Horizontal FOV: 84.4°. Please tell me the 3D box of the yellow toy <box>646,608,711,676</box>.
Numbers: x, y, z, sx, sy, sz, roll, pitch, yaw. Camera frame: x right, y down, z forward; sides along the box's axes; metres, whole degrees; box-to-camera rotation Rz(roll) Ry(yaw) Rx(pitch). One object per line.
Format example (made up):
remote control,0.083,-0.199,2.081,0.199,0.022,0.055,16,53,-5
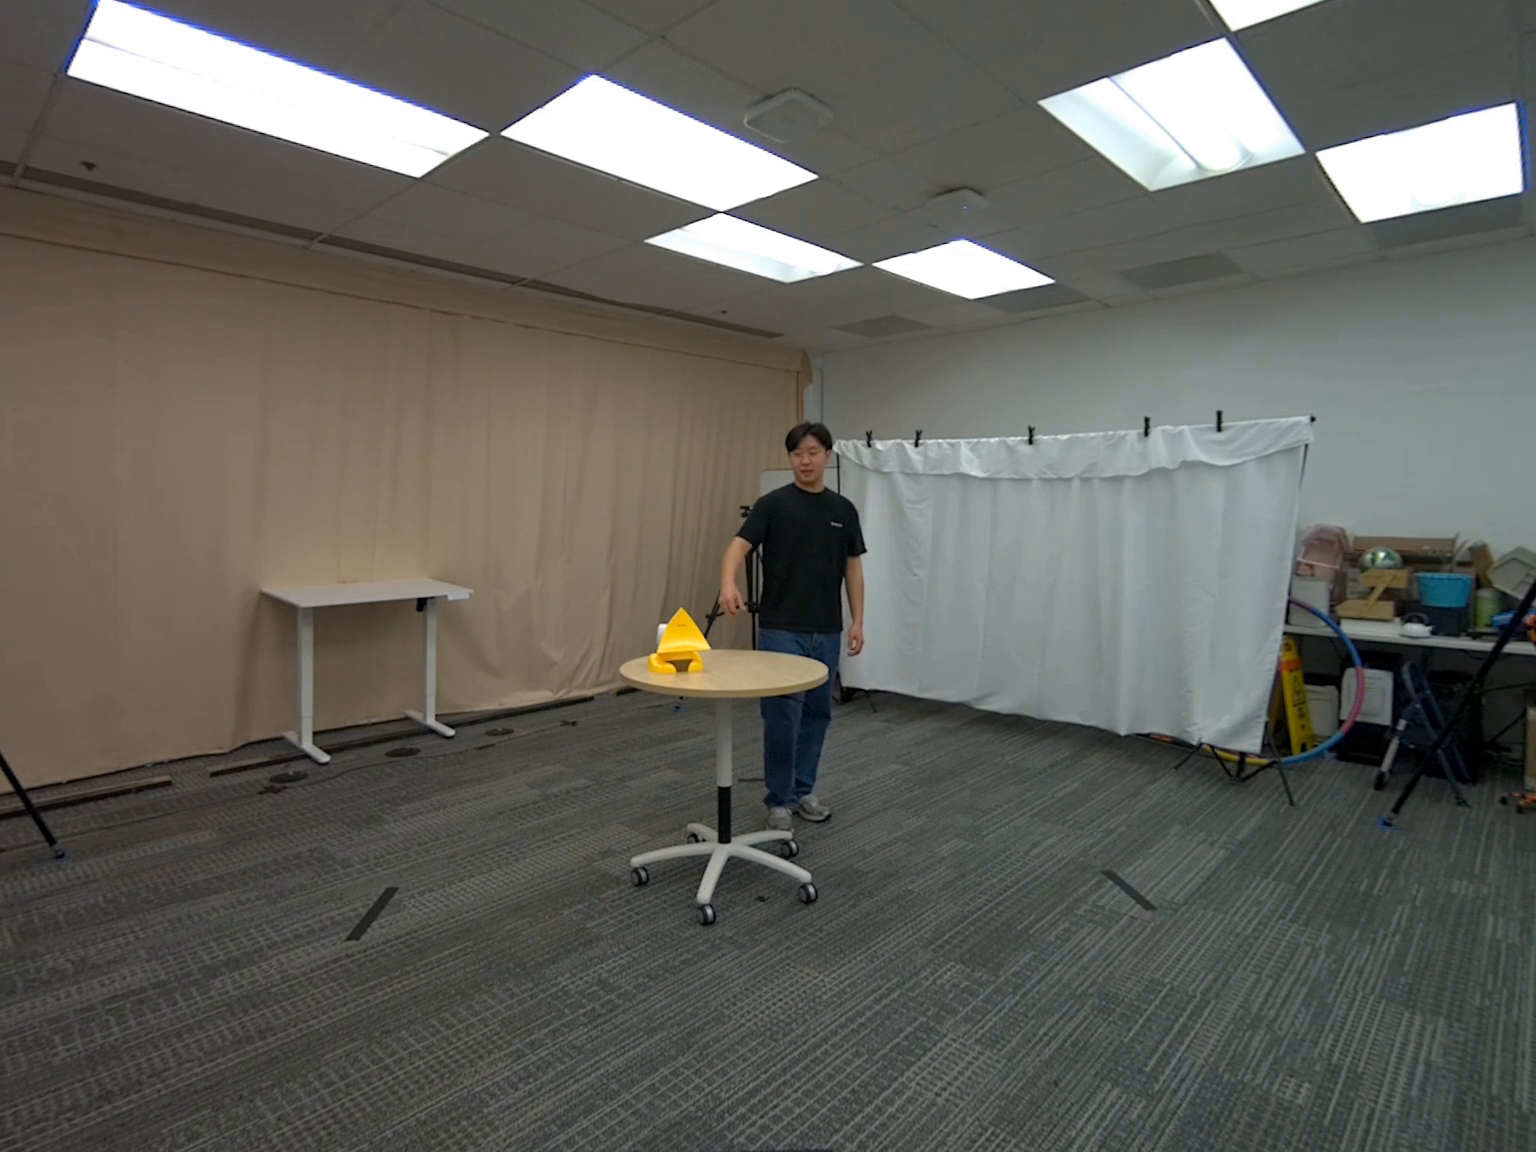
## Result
yellow toy,-0.336,0.225,3.080,0.200,0.230,0.198,-2,5,-24
